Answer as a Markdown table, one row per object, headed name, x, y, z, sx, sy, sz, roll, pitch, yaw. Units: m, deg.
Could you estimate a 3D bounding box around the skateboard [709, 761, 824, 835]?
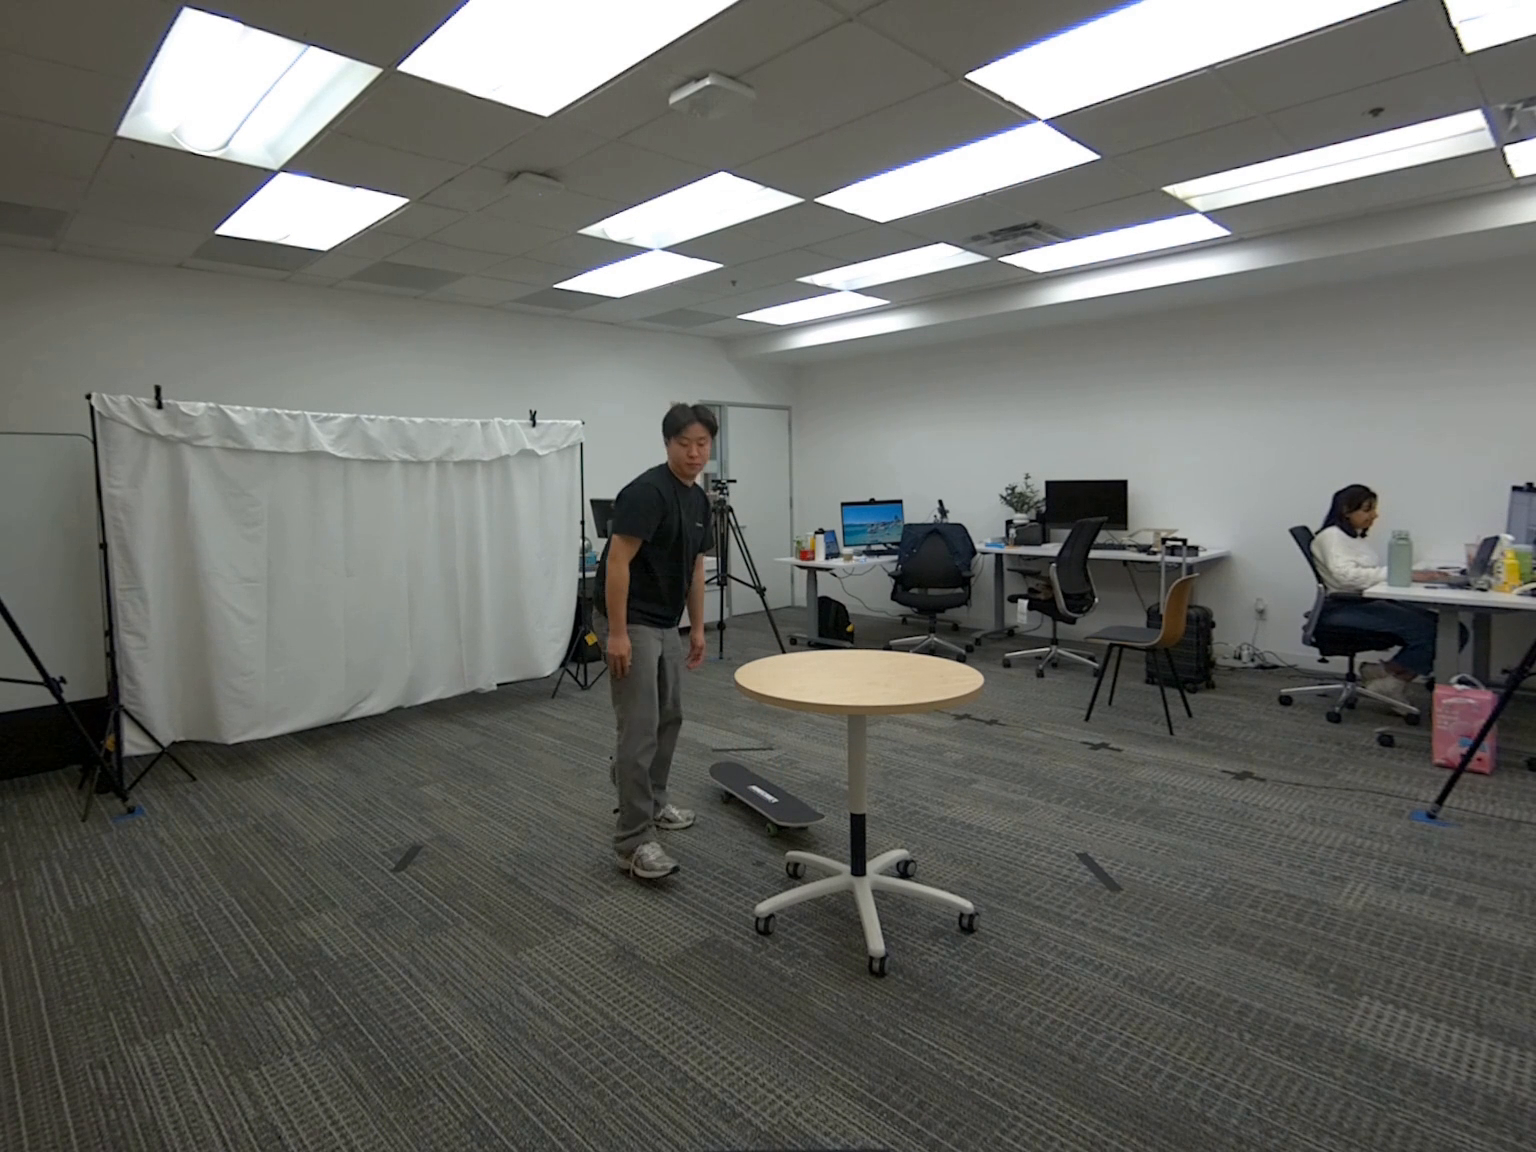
| name | x | y | z | sx | sy | sz | roll | pitch | yaw |
| --- | --- | --- | --- | --- | --- | --- | --- | --- | --- |
| skateboard | -0.021 | 0.940 | 3.559 | 0.189 | 0.110 | 0.807 | -3 | 6 | -29 |
